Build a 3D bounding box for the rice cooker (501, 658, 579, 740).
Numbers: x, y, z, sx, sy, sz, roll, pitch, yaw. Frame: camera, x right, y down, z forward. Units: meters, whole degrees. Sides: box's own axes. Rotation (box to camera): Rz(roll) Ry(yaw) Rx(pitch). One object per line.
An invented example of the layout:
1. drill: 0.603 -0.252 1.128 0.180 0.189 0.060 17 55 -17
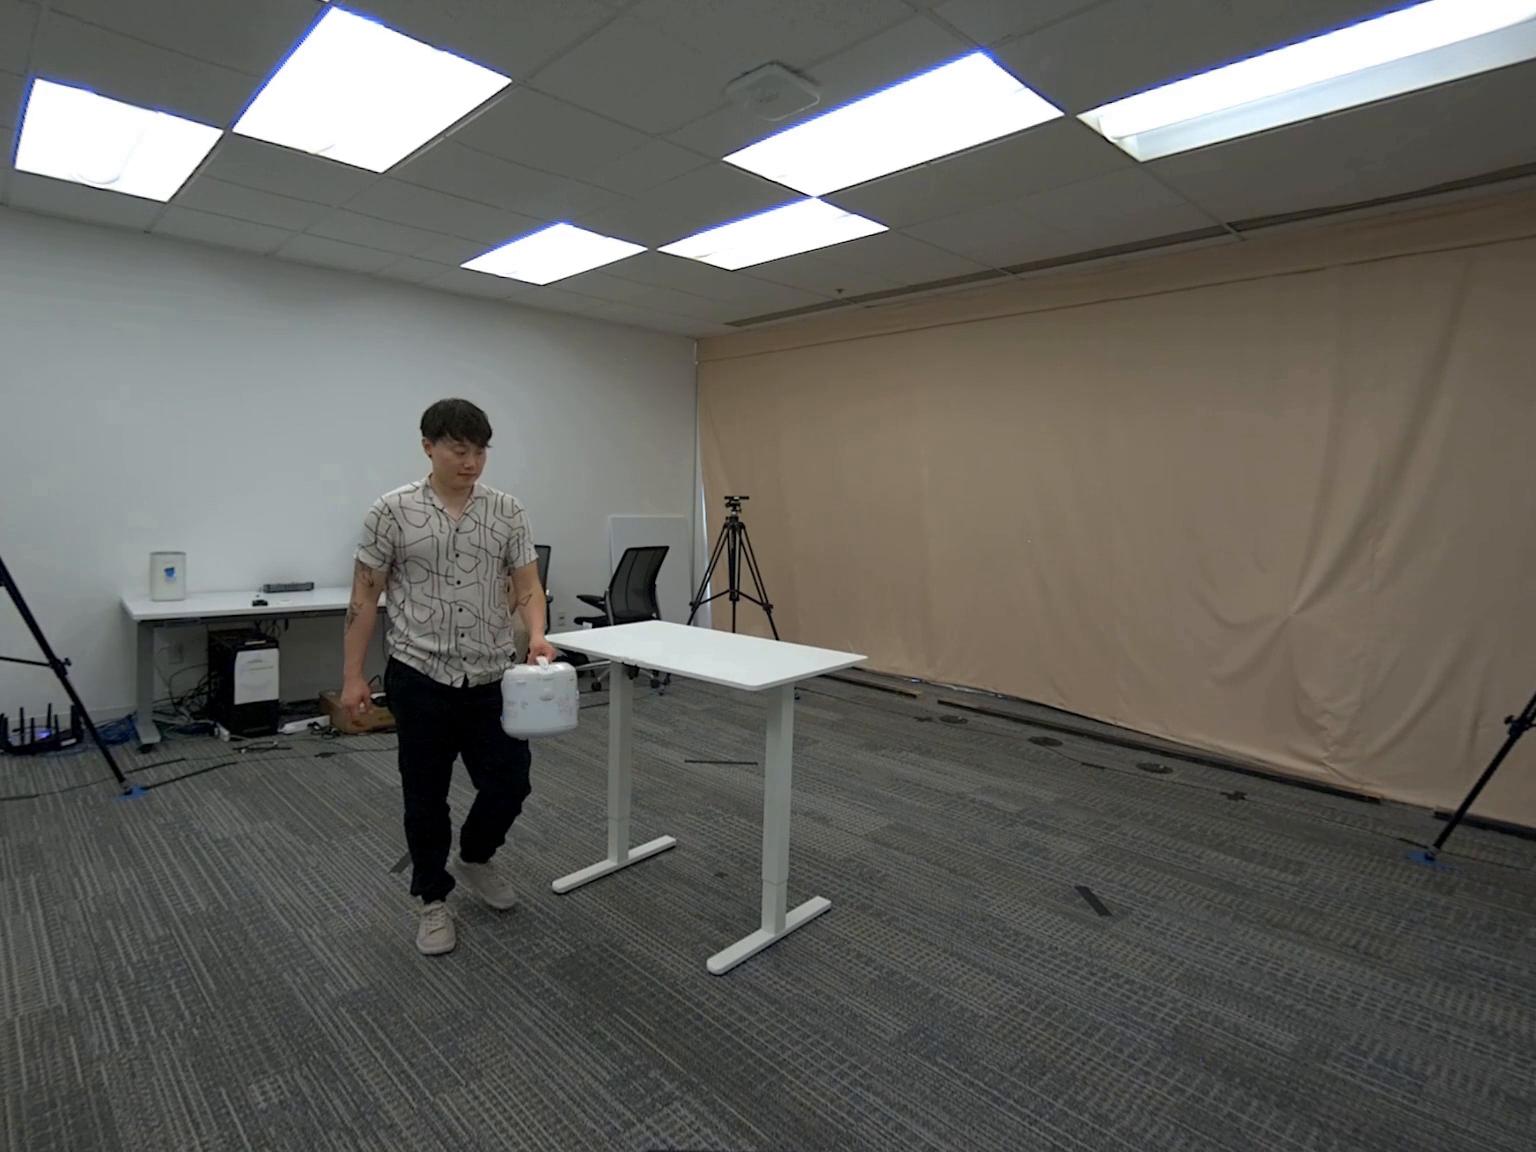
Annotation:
1. rice cooker: -0.679 0.351 2.458 0.214 0.233 0.224 -1 -3 -24
